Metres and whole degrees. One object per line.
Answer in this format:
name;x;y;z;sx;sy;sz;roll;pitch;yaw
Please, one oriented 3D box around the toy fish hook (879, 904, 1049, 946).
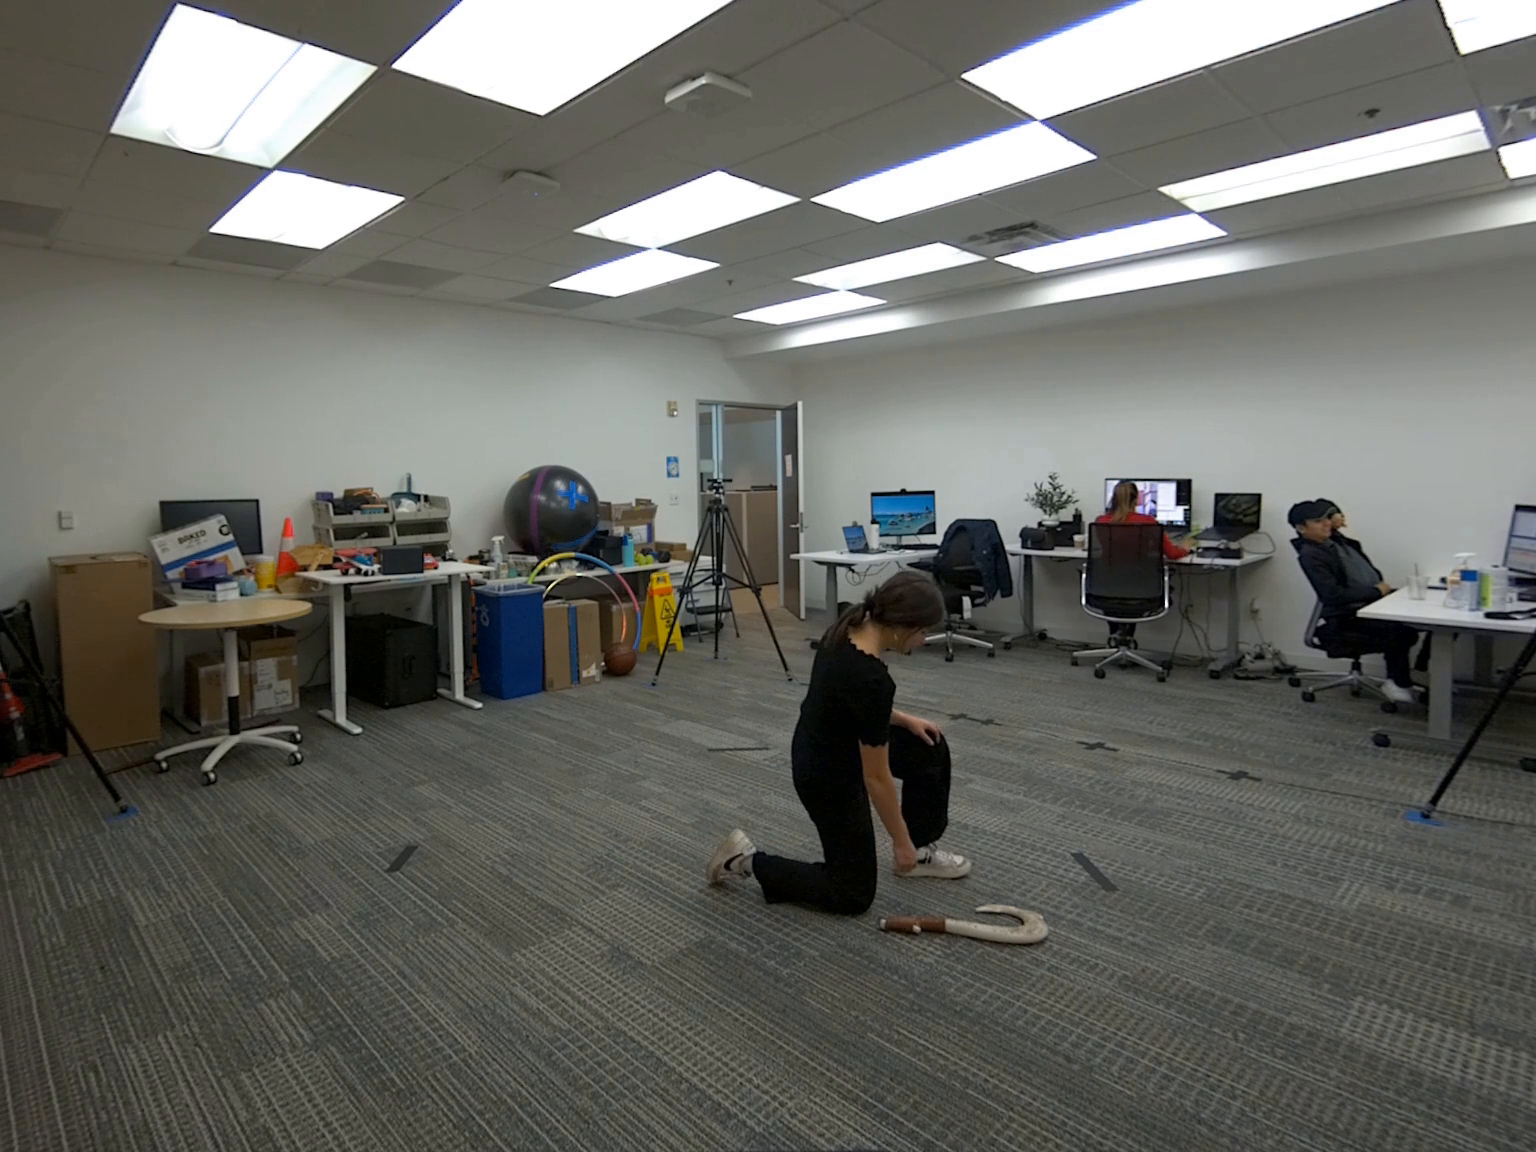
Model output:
toy fish hook;0.596;1.066;2.651;0.510;0.048;0.222;0;-1;7
